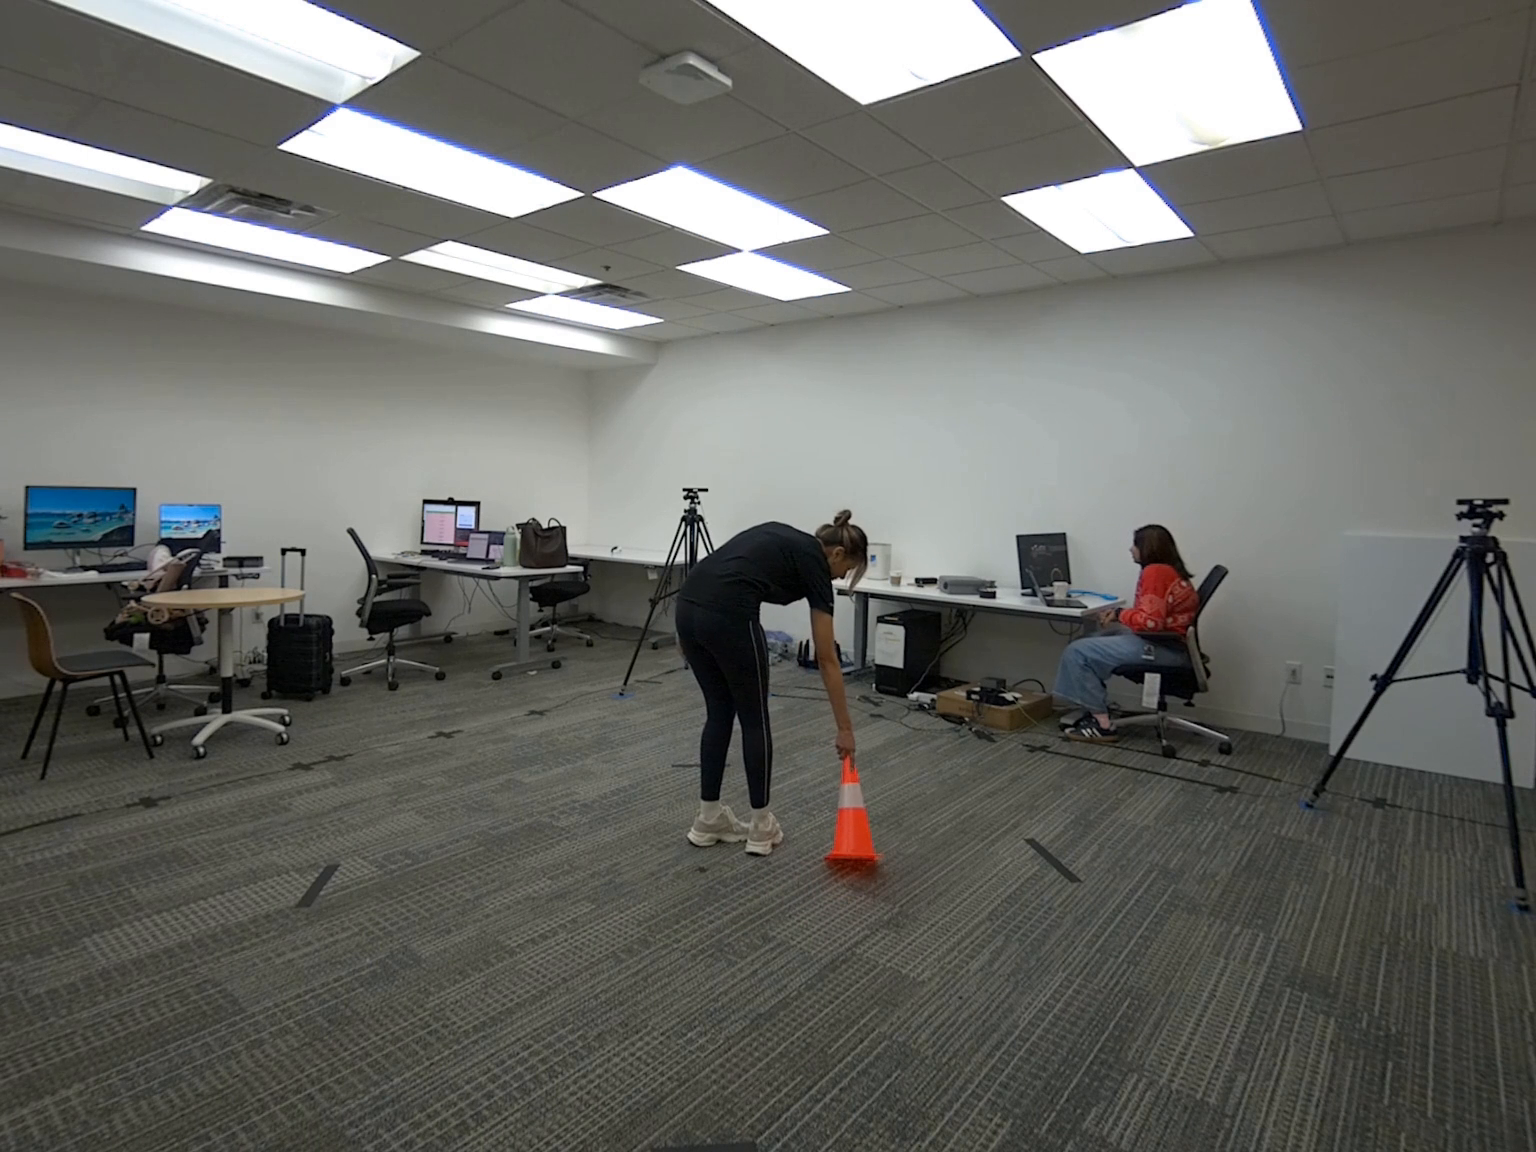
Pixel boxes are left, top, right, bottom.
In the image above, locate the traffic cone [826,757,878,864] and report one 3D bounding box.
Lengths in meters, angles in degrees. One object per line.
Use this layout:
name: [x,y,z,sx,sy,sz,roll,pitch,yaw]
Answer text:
traffic cone: [0.313,0.862,3.222,0.203,0.391,0.201,2,-23,0]
